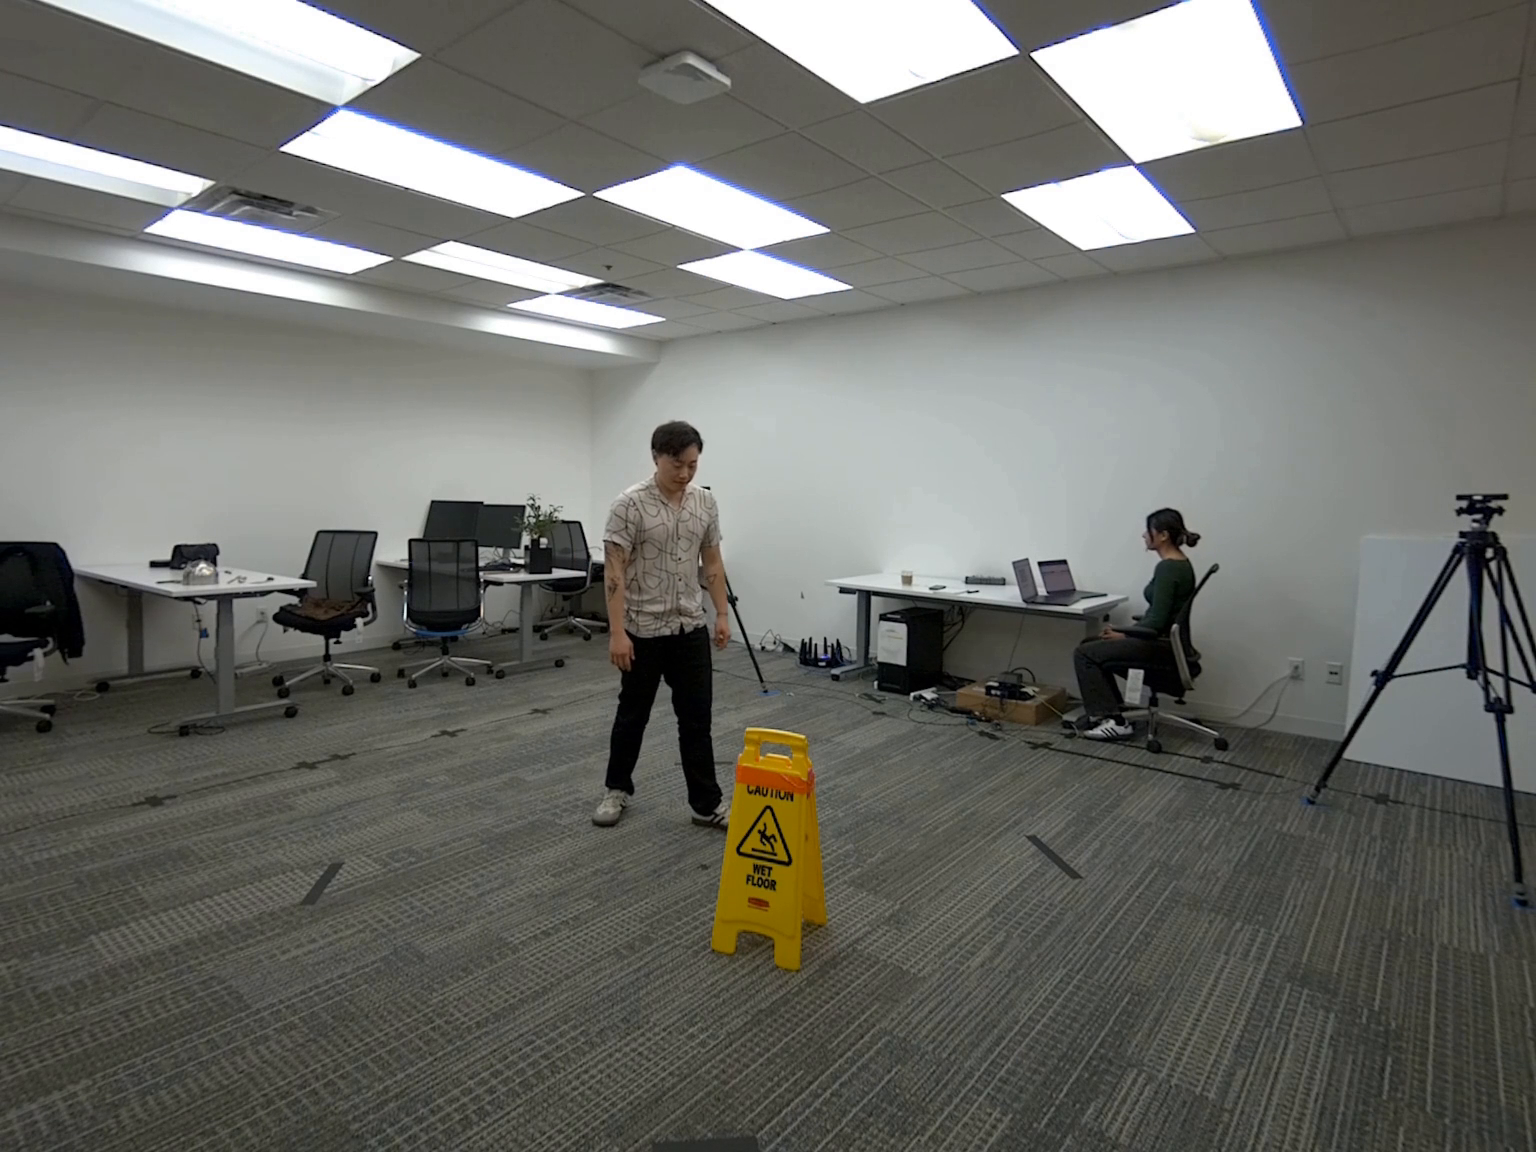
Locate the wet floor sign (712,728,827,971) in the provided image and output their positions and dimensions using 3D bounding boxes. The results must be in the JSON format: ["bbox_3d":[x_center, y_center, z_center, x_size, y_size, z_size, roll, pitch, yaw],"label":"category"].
[{"bbox_3d":[0.010,0.793,2.624,0.289,0.644,0.283,3,3,22],"label":"wet floor sign"}]
